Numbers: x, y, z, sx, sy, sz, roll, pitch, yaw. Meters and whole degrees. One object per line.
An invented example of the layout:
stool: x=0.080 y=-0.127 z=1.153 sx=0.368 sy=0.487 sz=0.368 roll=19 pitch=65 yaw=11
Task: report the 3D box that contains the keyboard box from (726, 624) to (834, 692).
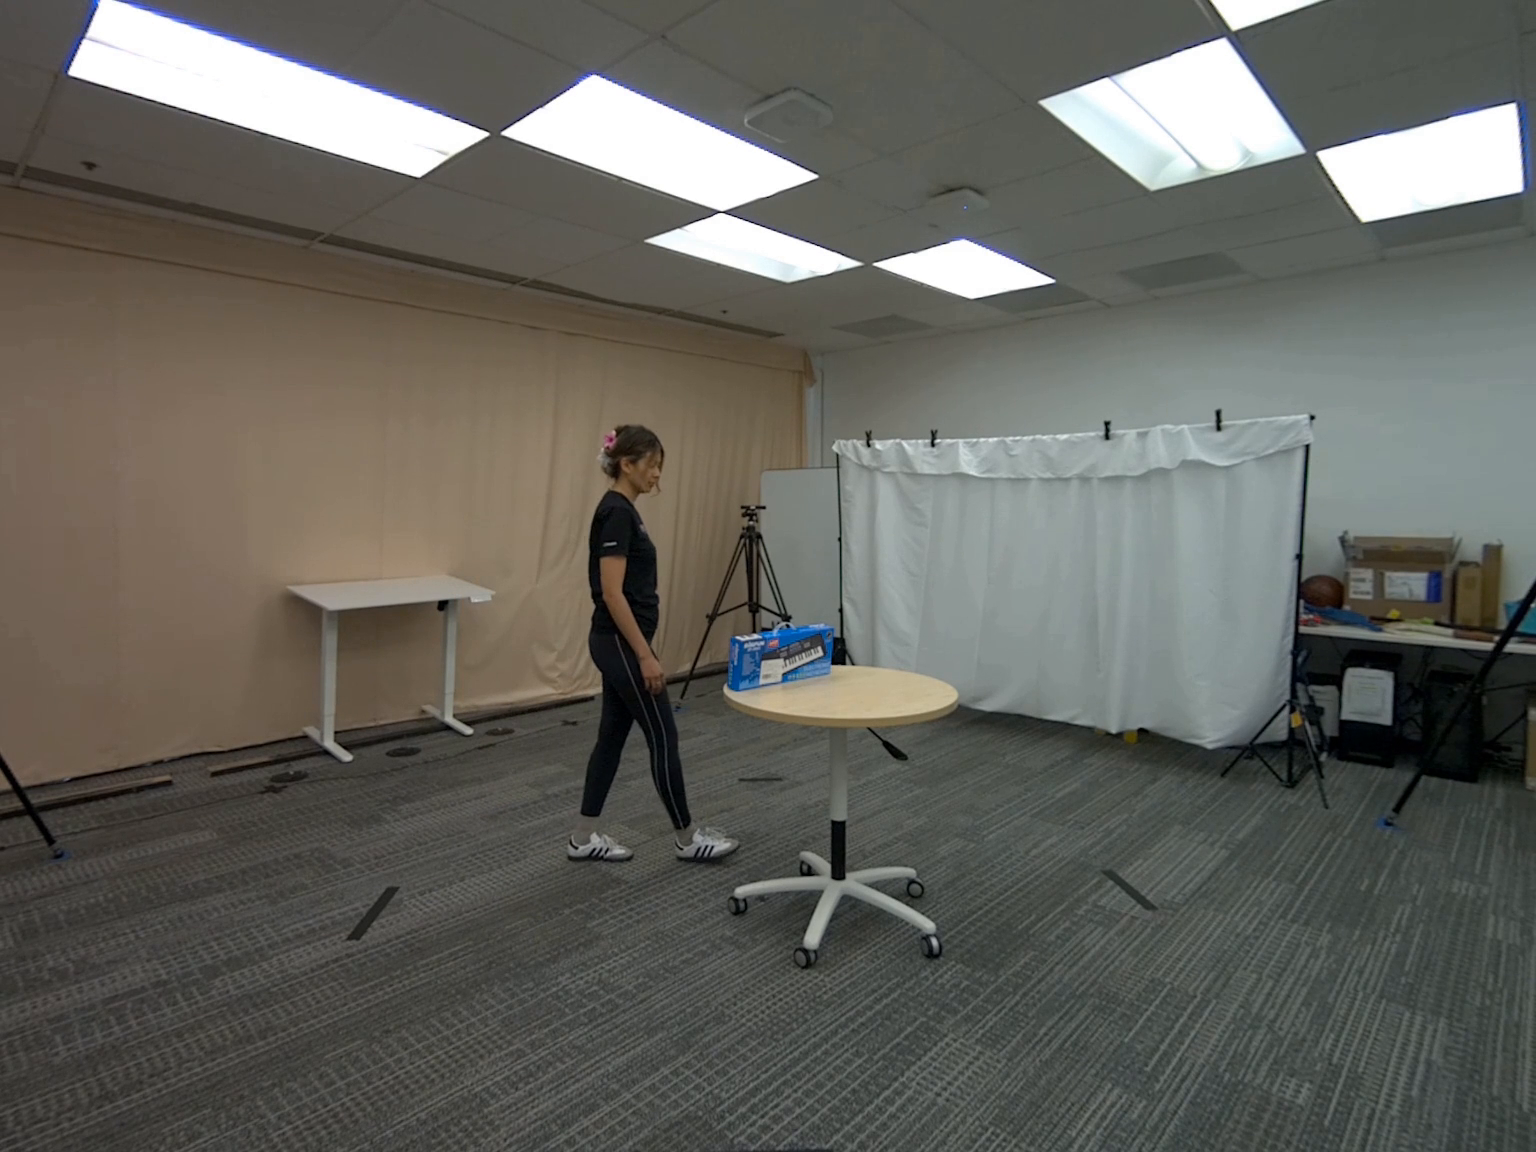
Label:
keyboard box: x=0.055 y=0.279 z=2.898 sx=0.424 sy=0.175 sz=0.061 roll=-5 pitch=13 yaw=-40
